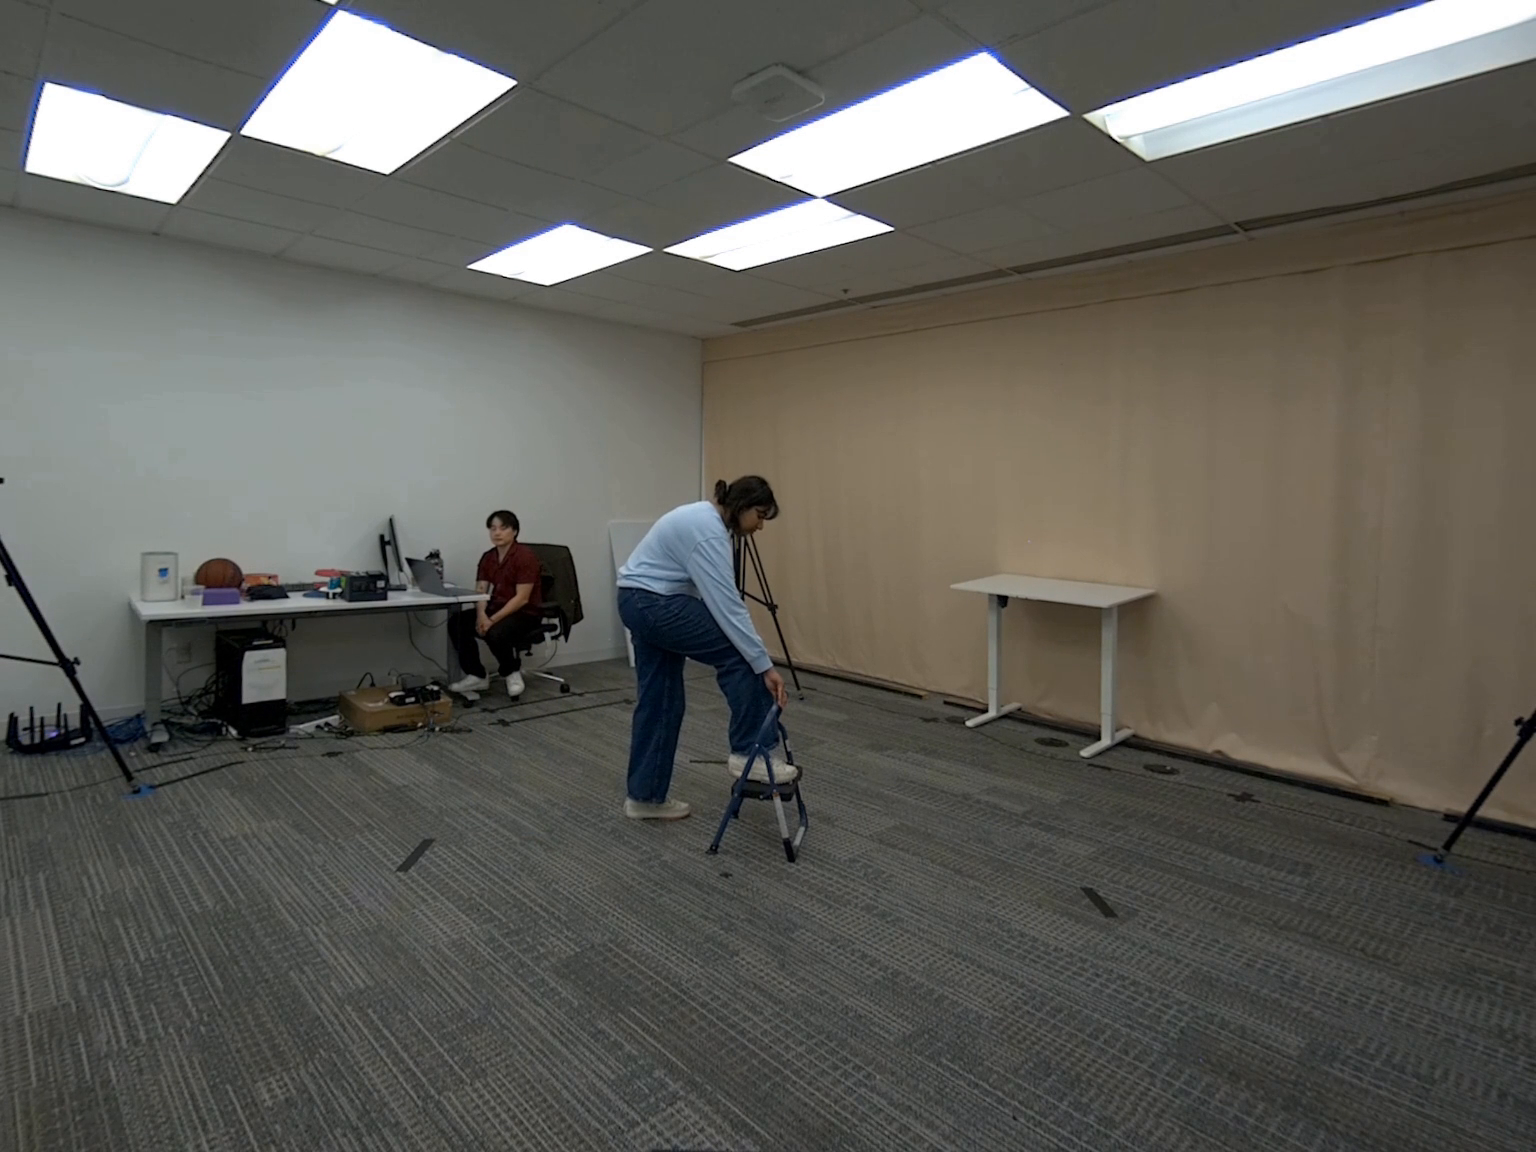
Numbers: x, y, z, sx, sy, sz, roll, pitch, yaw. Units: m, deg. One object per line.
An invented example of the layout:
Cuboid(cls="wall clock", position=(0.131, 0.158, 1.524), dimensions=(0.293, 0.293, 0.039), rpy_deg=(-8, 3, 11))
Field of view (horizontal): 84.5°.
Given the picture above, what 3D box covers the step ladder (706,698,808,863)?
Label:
Cuboid(cls="step ladder", position=(-0.032, 0.778, 3.437), dimensions=(0.353, 0.604, 0.427), rpy_deg=(2, 4, 11))
